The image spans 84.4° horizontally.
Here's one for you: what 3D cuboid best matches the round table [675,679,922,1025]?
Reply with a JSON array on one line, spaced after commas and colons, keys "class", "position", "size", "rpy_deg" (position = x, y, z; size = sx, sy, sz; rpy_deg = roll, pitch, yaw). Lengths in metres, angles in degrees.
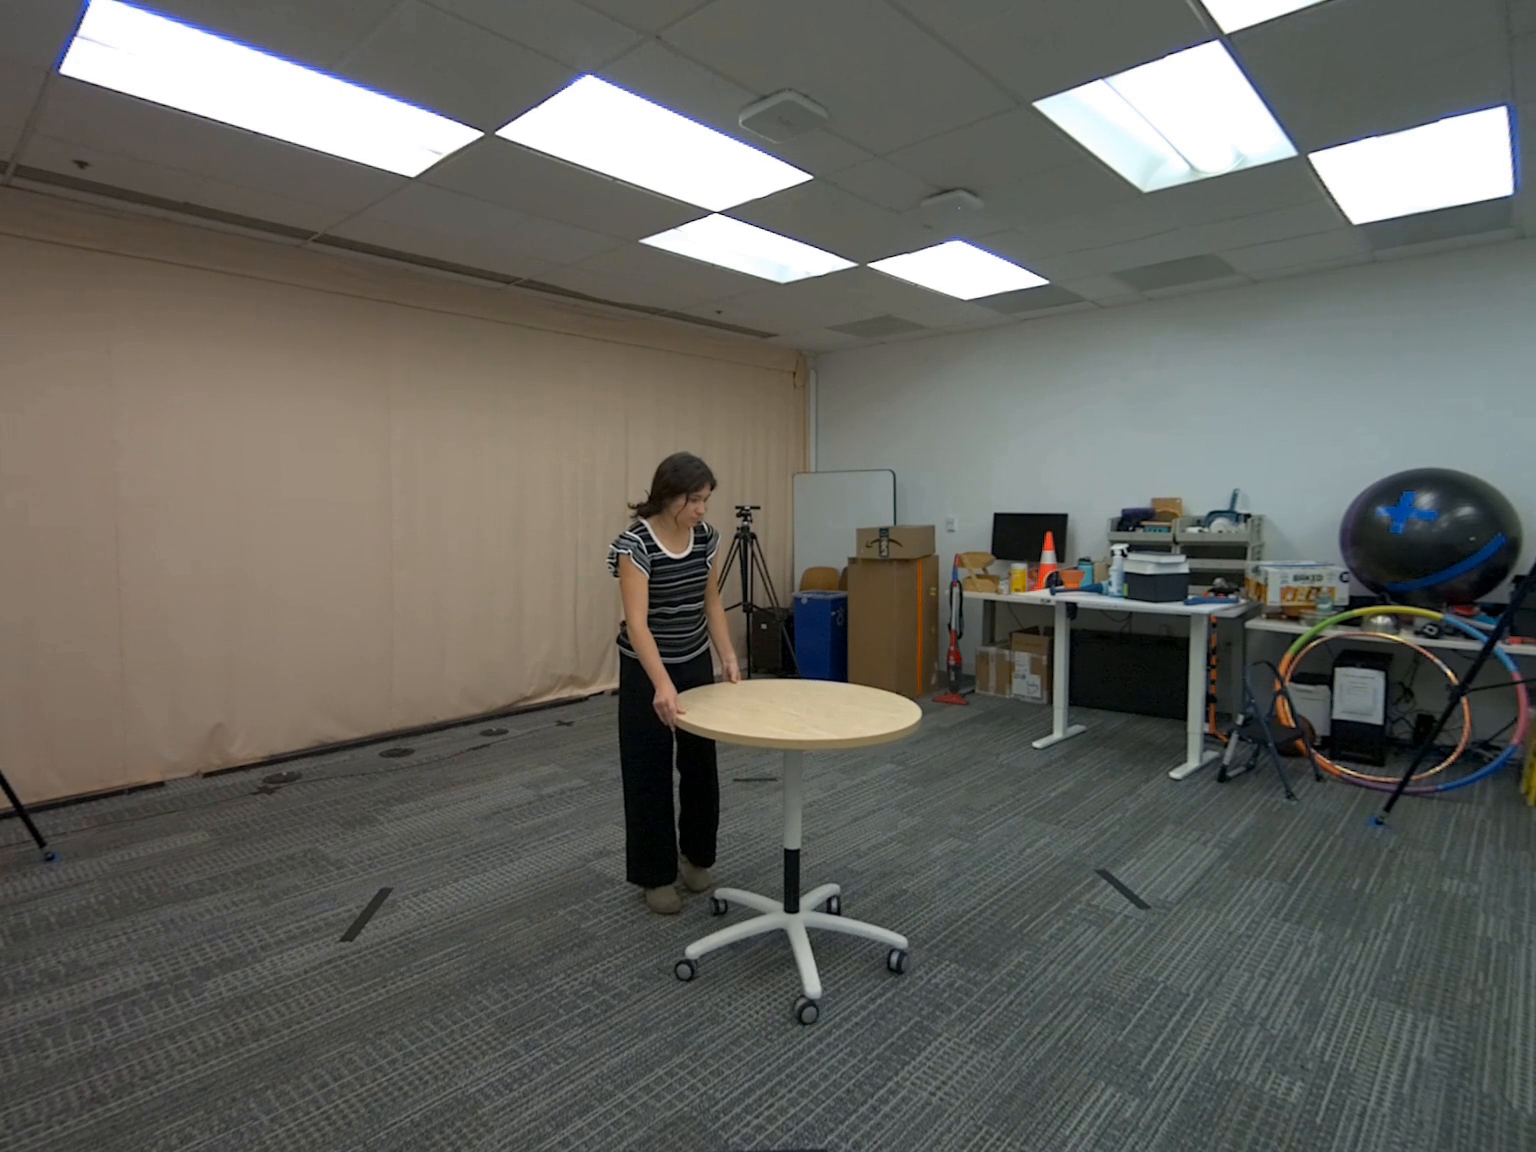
[{"class": "round table", "position": [0.086, 0.783, 2.600], "size": [0.784, 0.785, 0.788], "rpy_deg": [0, 4, -2]}]
